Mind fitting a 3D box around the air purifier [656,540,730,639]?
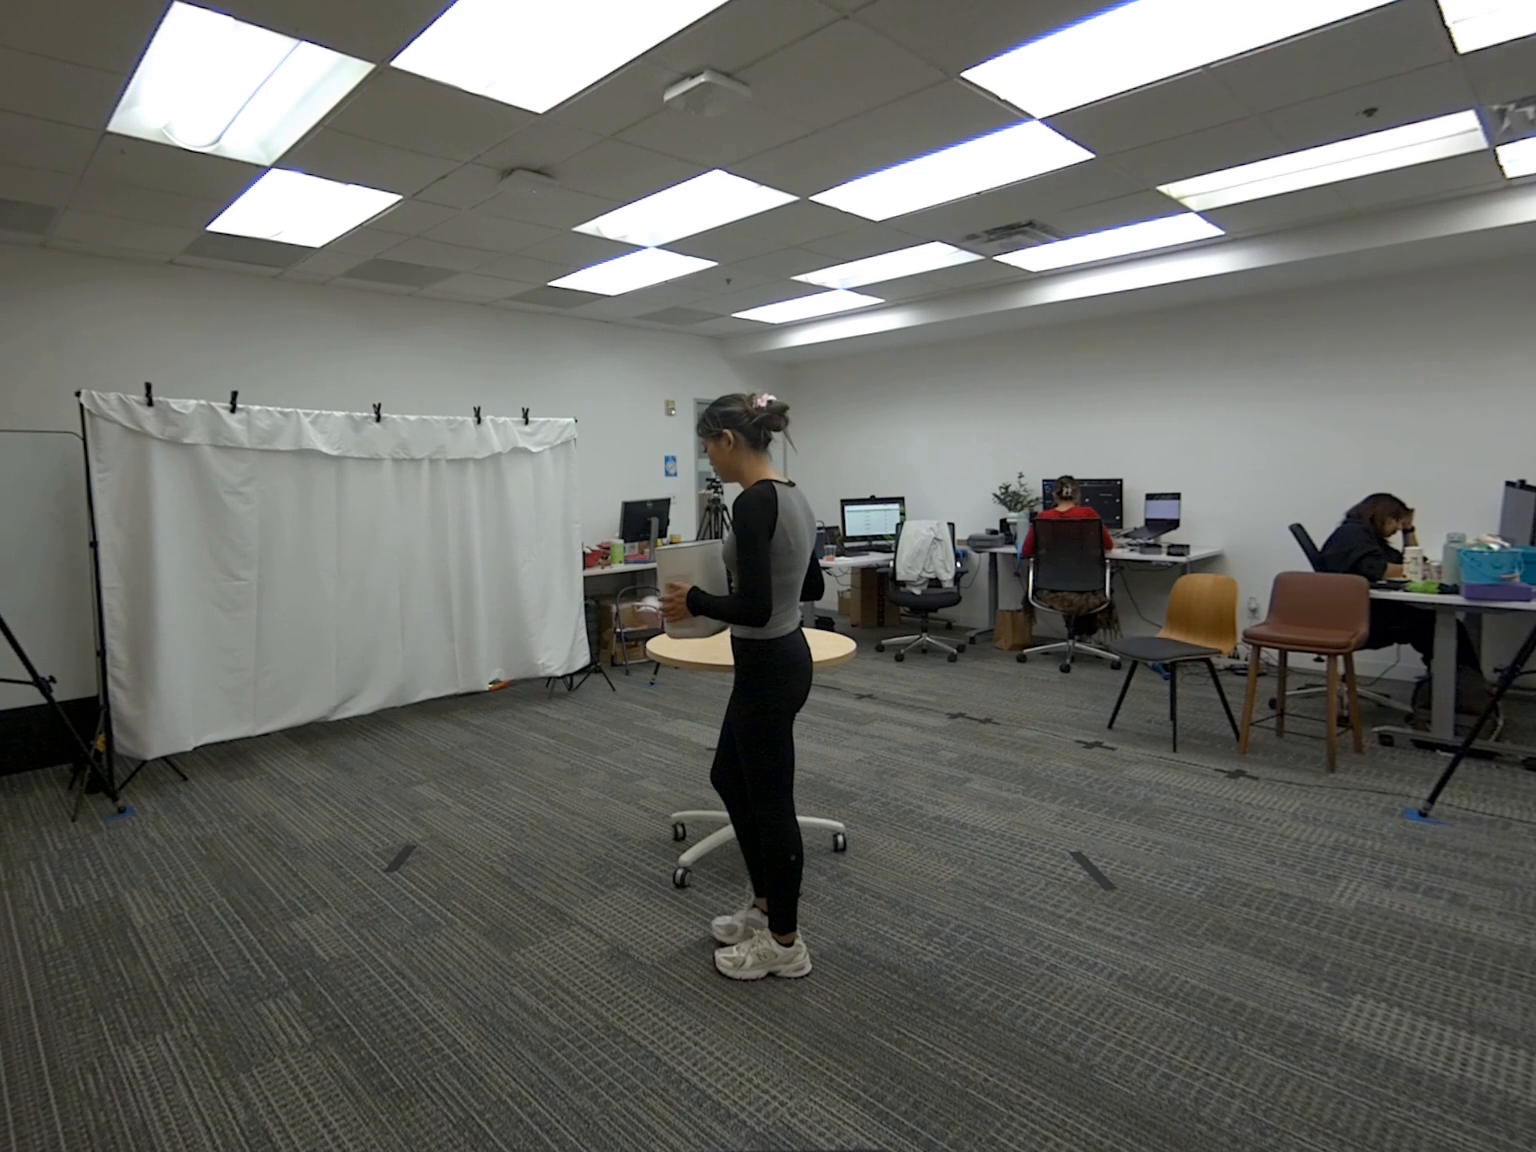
[{"bbox_3d":[-0.208,0.037,2.451,0.175,0.265,0.167,-6,2,28],"label":"air purifier"}]
